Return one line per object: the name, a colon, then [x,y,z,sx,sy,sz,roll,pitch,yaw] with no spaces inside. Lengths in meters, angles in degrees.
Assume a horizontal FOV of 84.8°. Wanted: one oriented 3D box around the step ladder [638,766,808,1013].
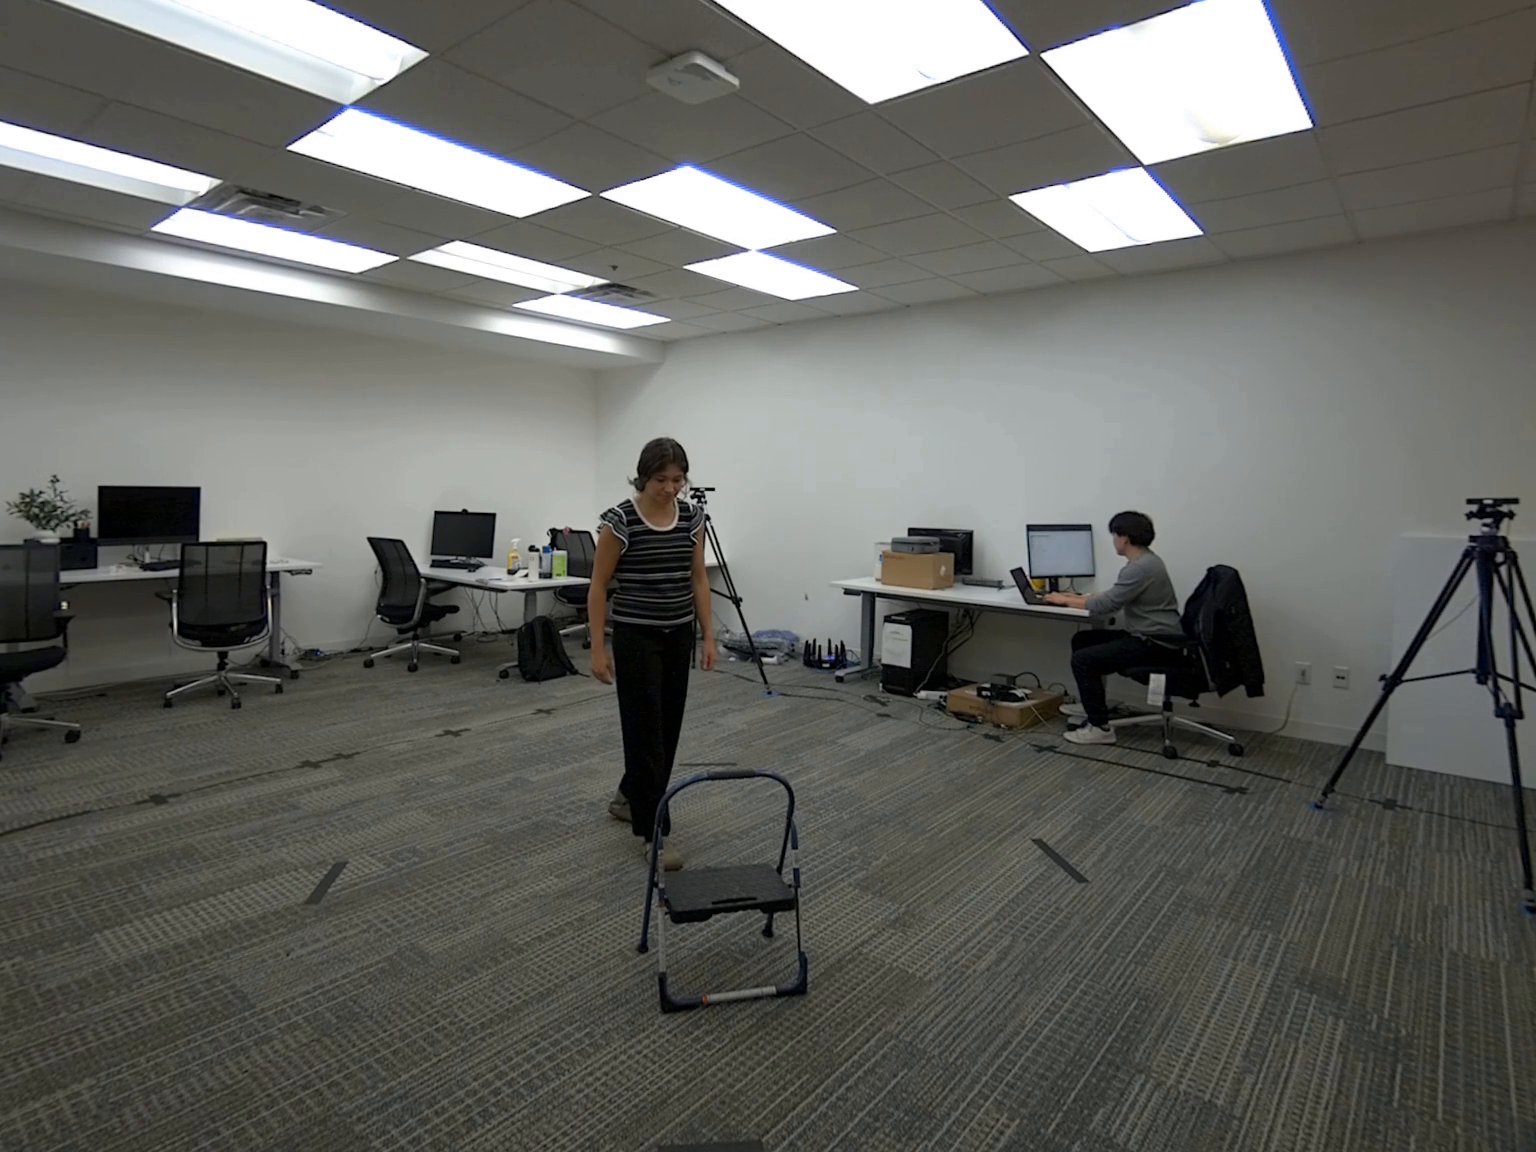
step ladder: [-0.139,0.834,2.440,0.423,0.604,0.356,0,4,-17]
